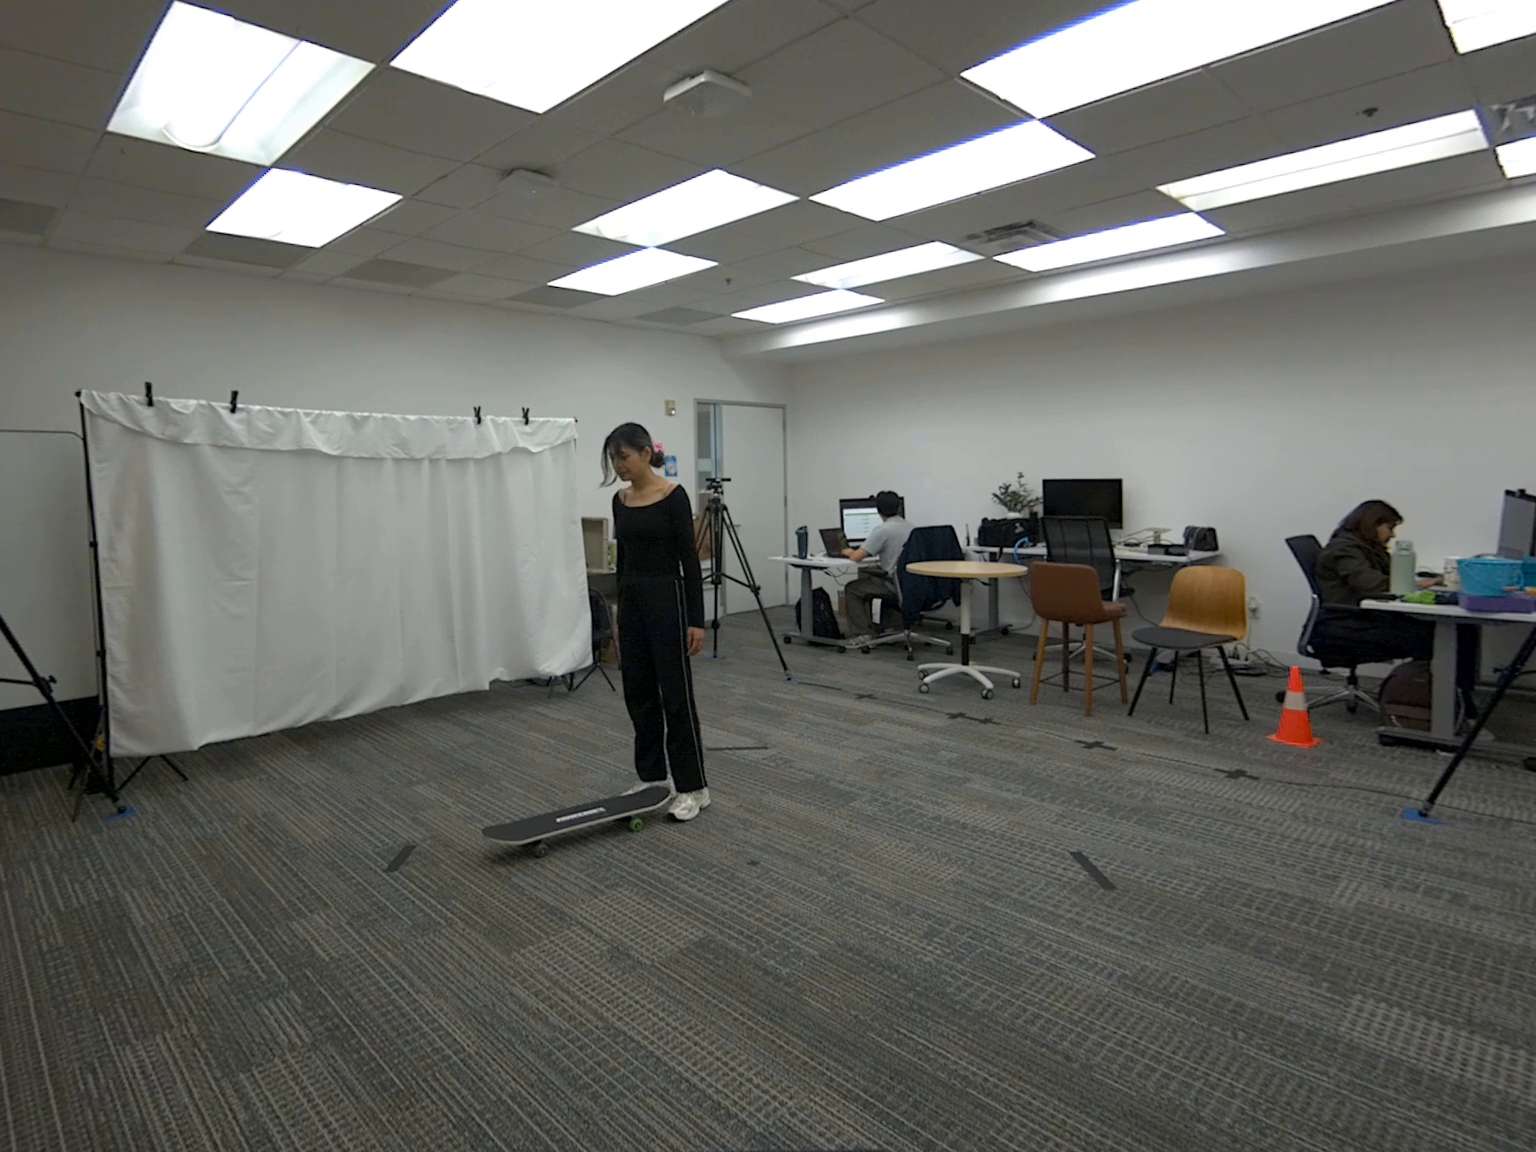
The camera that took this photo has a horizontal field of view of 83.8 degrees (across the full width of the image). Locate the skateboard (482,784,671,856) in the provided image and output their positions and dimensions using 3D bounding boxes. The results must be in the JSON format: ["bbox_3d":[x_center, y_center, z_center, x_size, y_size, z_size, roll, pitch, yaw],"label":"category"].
[{"bbox_3d":[-0.733,0.968,3.359,0.766,0.110,0.199,-5,6,-34],"label":"skateboard"}]
